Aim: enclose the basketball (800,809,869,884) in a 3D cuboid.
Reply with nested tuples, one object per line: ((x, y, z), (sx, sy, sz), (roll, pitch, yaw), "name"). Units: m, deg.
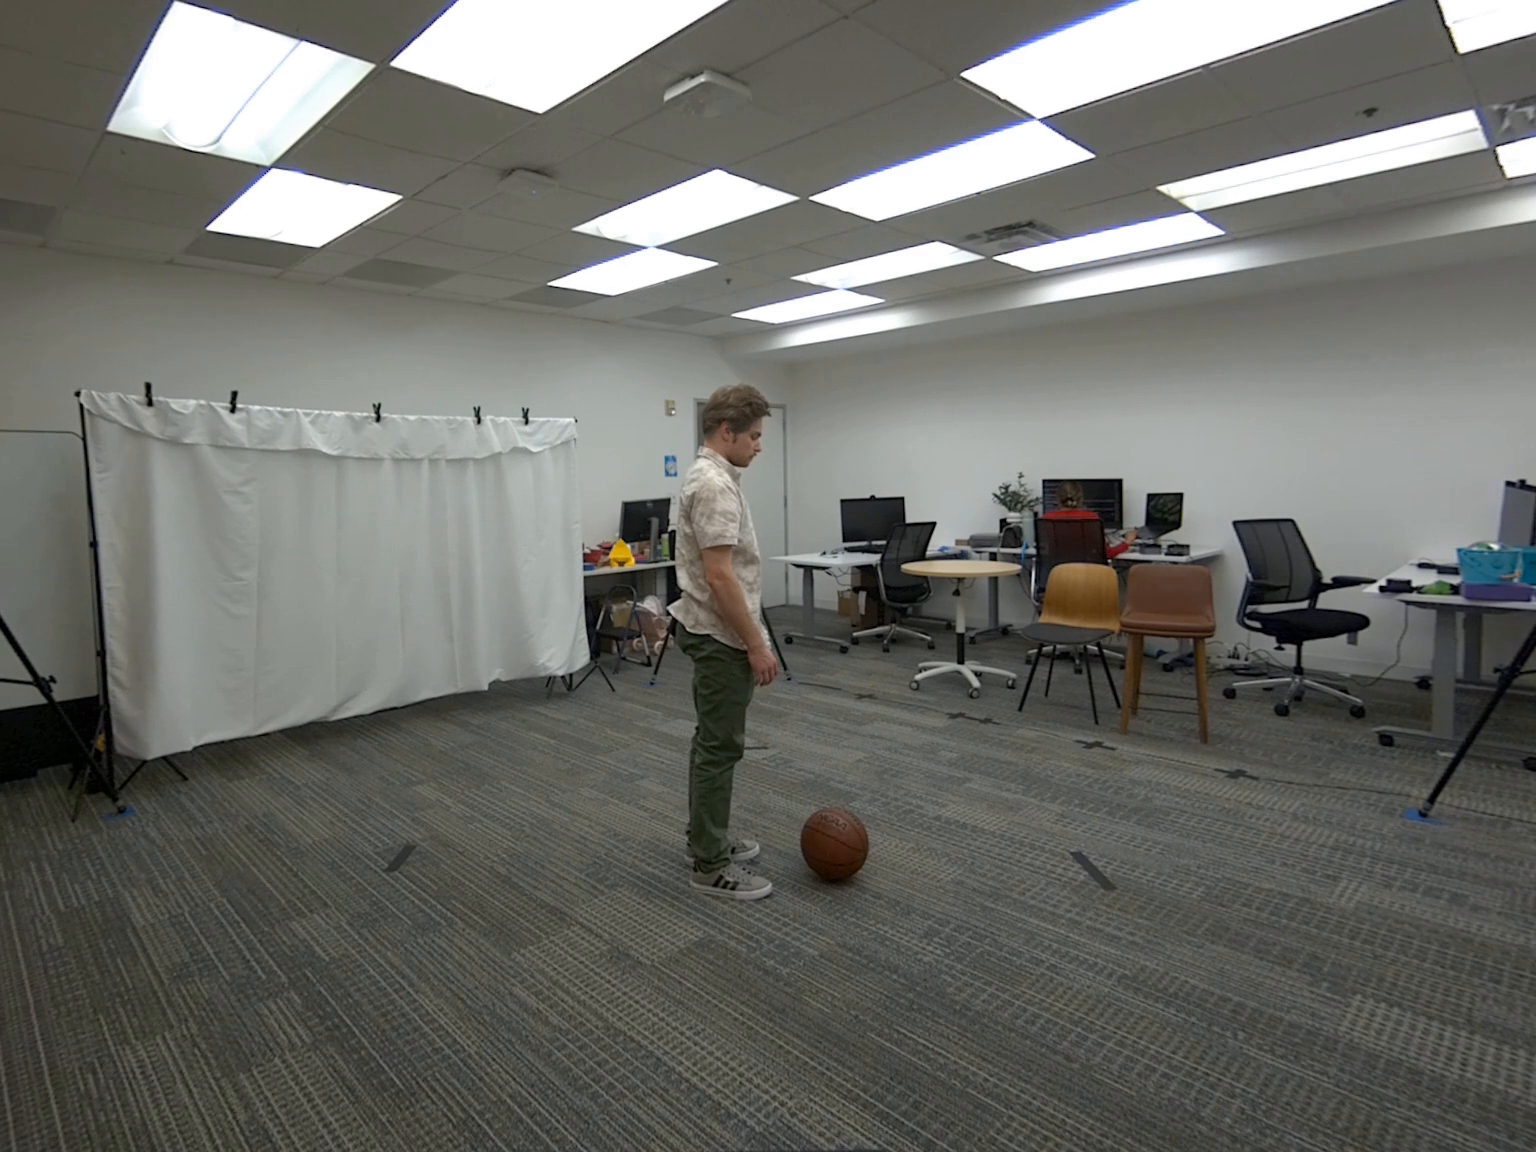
((0.231, 0.926, 2.978), (0.236, 0.235, 0.237), (-1, 5, -2), "basketball")
